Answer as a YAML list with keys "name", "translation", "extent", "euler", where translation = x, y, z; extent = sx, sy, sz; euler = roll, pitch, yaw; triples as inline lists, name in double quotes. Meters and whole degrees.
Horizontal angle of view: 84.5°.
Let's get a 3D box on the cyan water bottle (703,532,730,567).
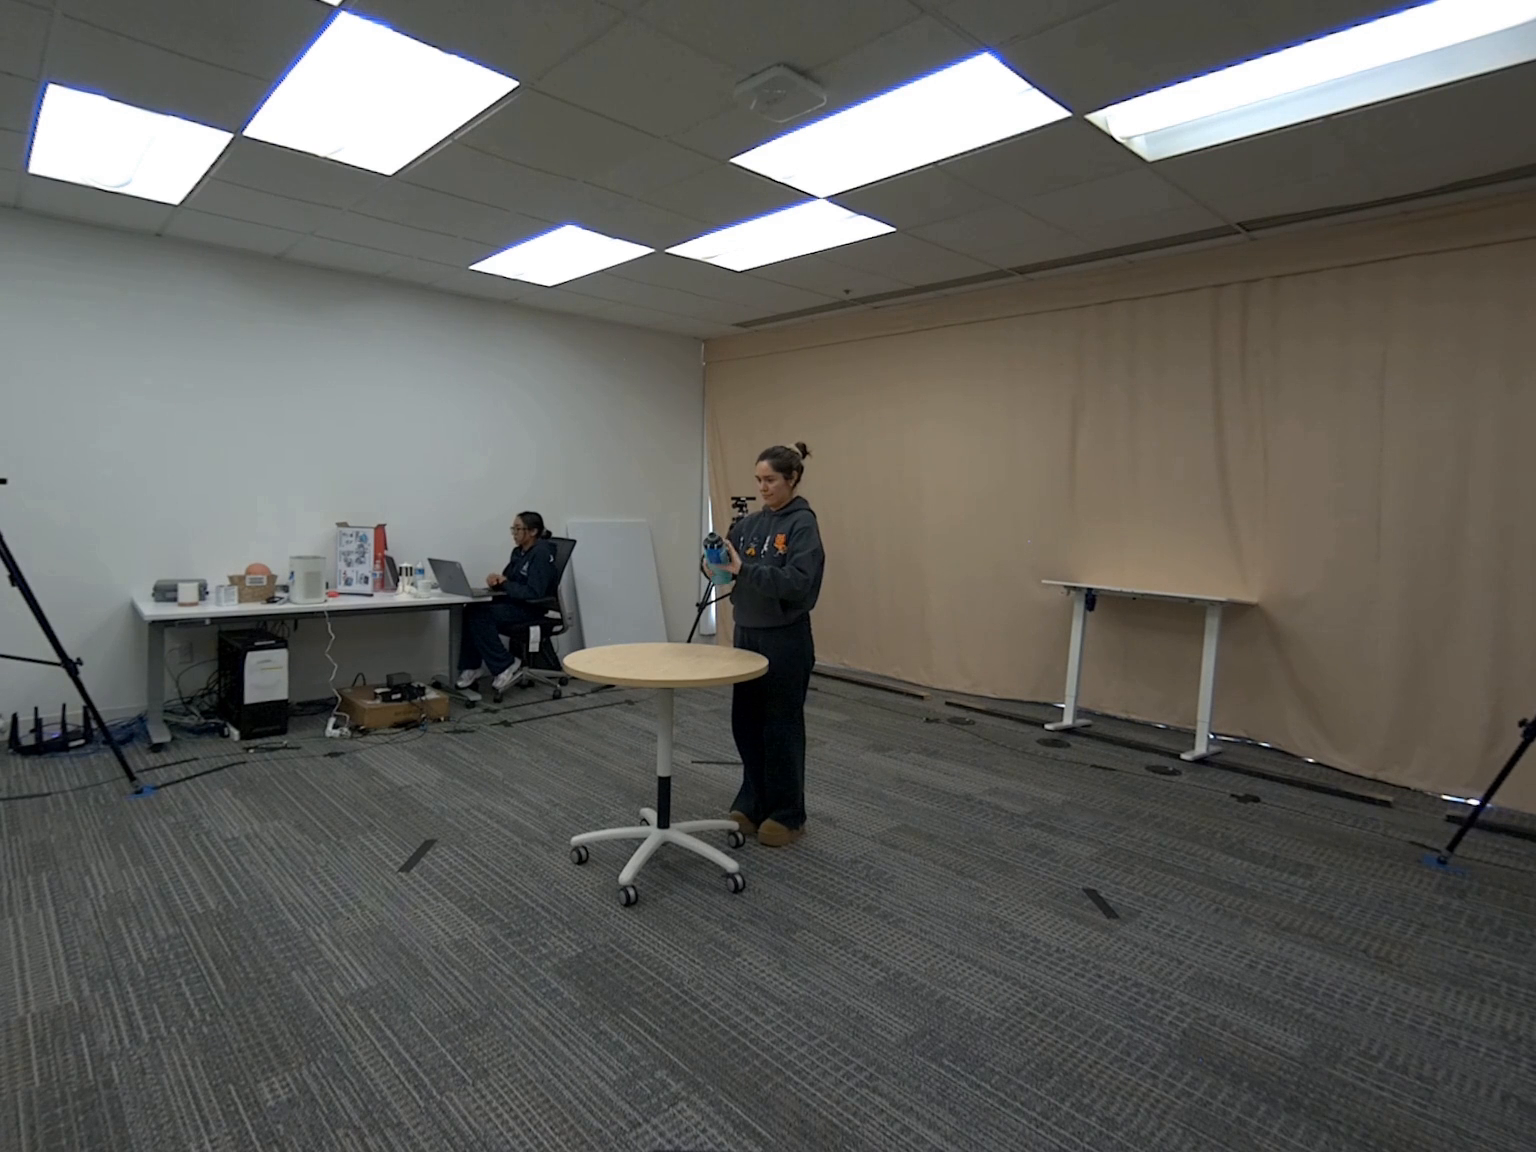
- name: "cyan water bottle"
  translation: [-0.216, -0.068, 3.329]
  extent: [0.093, 0.094, 0.277]
  euler: [2, -31, 6]
